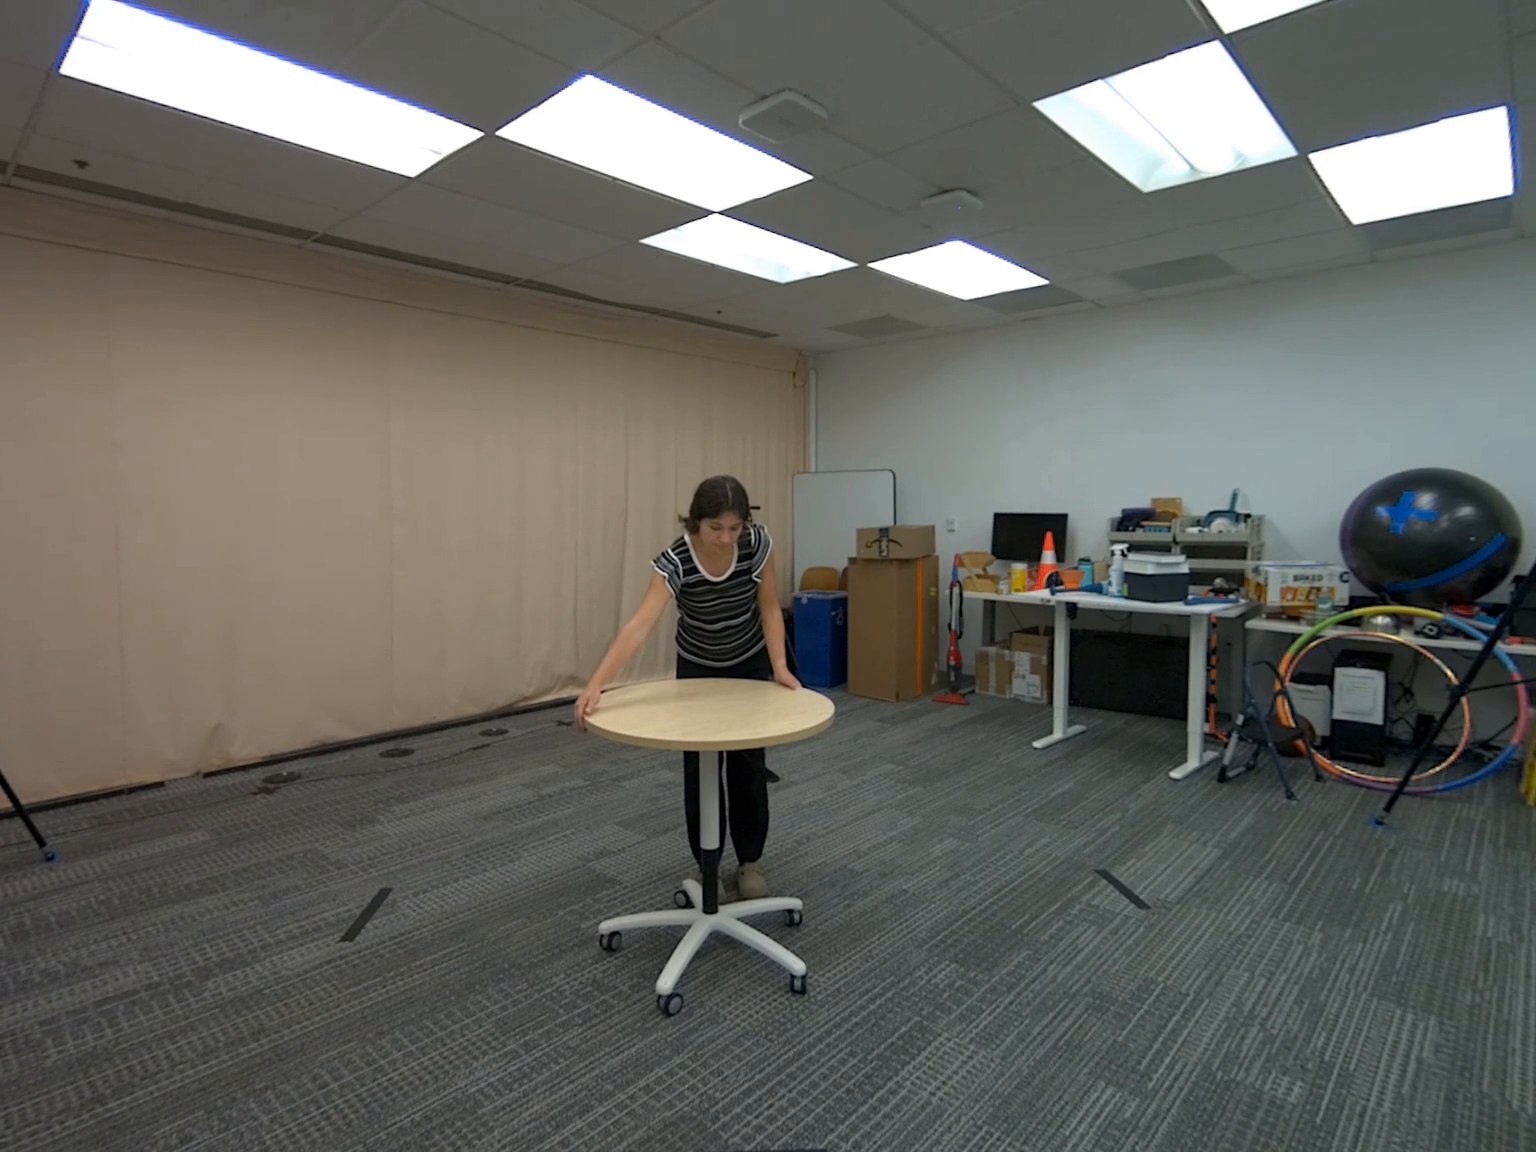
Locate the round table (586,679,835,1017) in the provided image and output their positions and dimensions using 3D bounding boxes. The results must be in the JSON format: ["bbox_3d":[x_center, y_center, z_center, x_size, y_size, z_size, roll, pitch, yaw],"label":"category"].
[{"bbox_3d":[-0.180,0.785,2.596,0.763,0.792,0.767,0,4,-2],"label":"round table"}]
